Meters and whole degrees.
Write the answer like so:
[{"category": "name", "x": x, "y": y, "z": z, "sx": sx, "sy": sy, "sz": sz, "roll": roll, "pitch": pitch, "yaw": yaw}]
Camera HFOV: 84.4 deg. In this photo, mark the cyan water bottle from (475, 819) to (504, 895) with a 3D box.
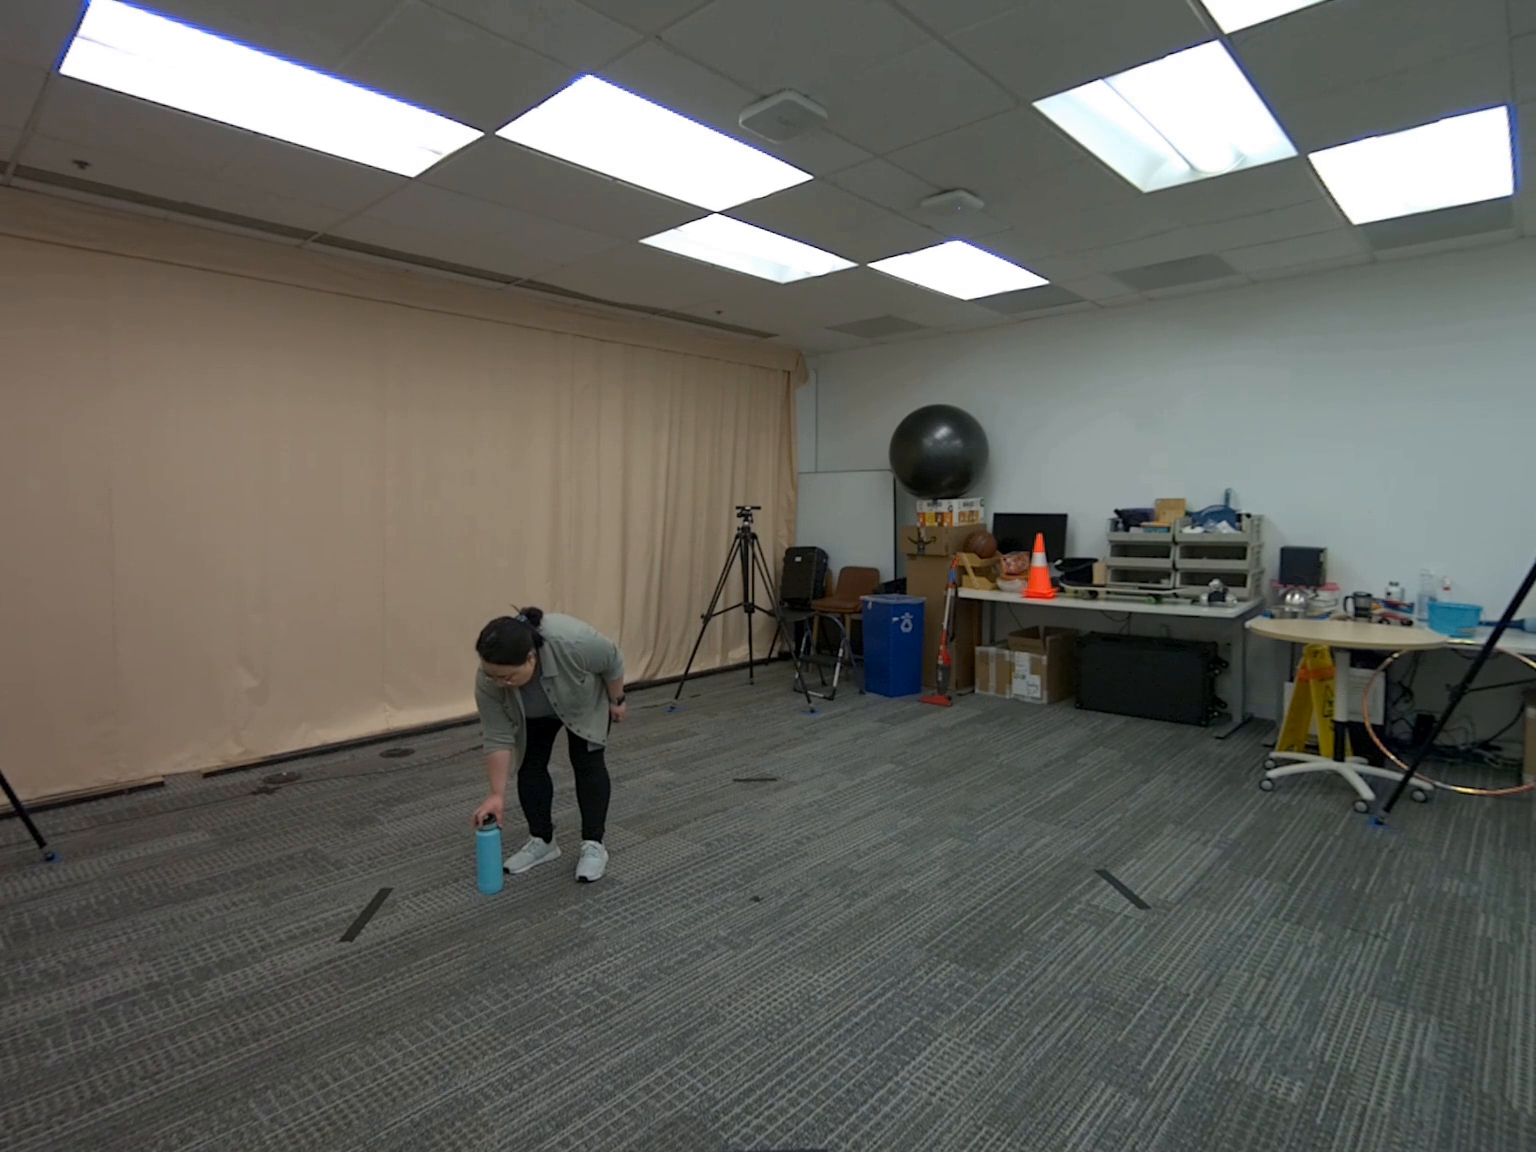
[{"category": "cyan water bottle", "x": -1.022, "y": 0.999, "z": 3.084, "sx": 0.092, "sy": 0.283, "sz": 0.092, "roll": -3, "pitch": 2, "yaw": -2}]
